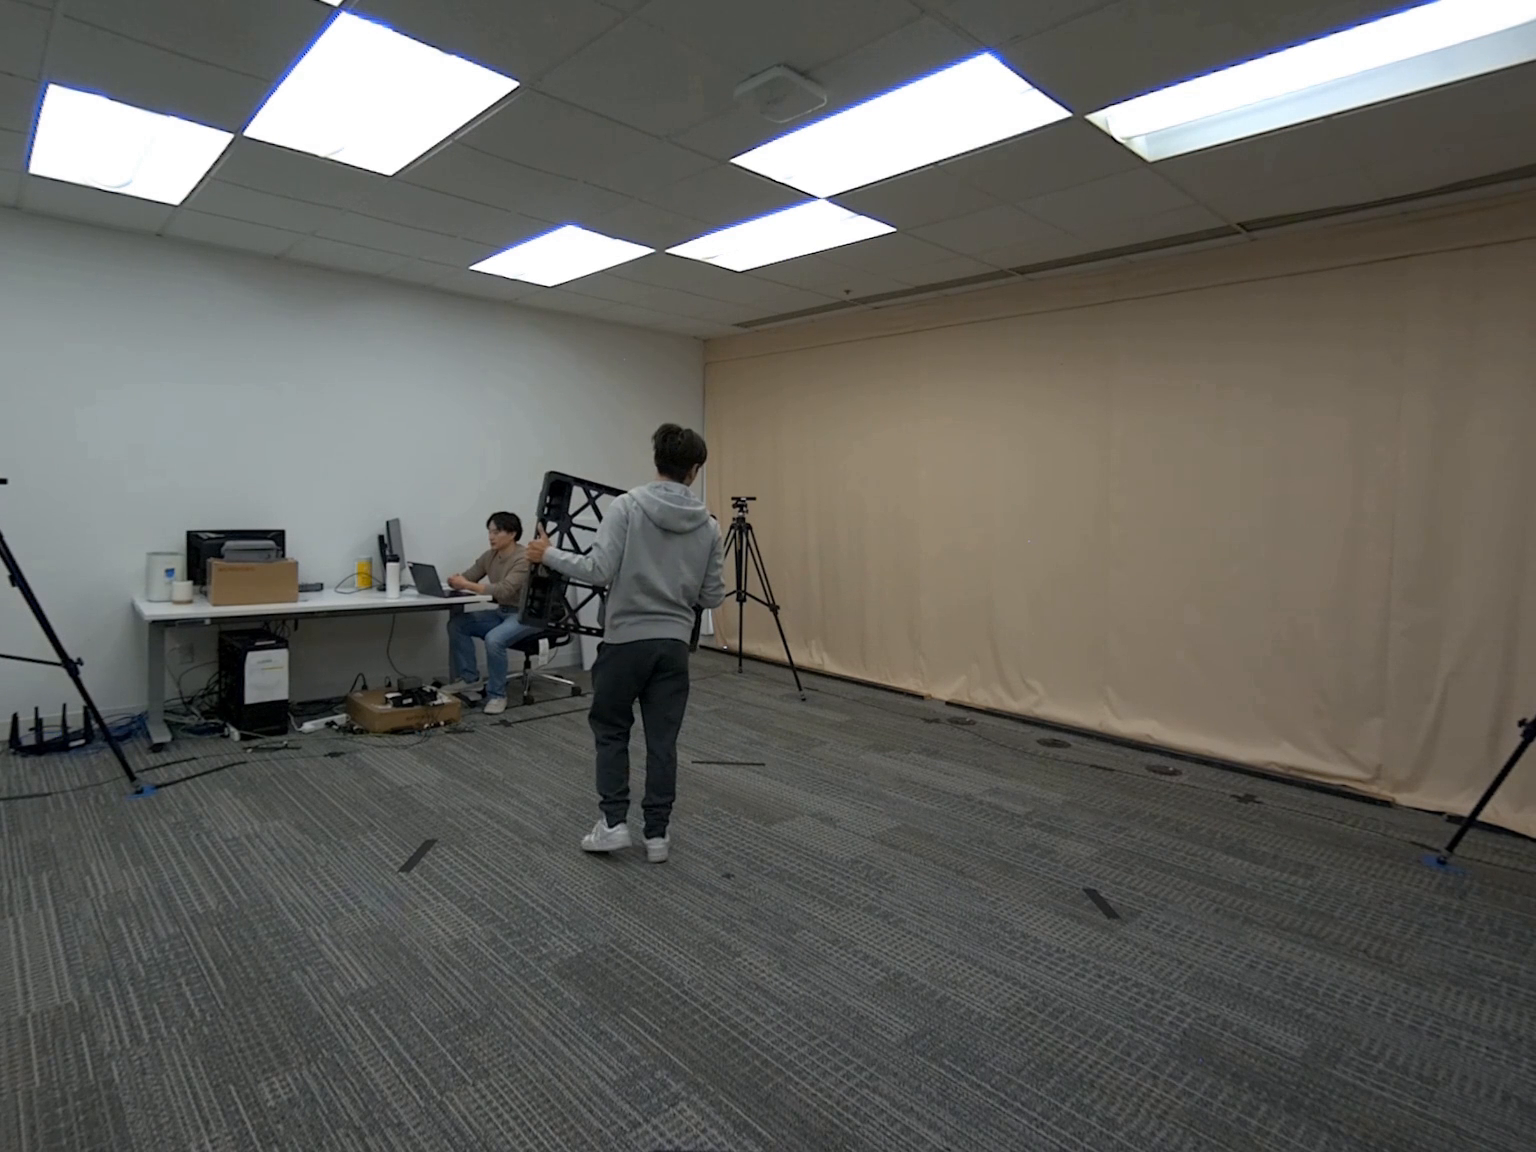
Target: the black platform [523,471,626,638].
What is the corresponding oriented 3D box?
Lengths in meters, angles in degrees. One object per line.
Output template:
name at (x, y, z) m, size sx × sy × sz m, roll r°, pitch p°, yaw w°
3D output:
black platform at (-0.609, -0.033, 3.449) m, size 0.784 × 0.608 × 0.146 m, roll 14°, pitch -10°, yaw -34°
